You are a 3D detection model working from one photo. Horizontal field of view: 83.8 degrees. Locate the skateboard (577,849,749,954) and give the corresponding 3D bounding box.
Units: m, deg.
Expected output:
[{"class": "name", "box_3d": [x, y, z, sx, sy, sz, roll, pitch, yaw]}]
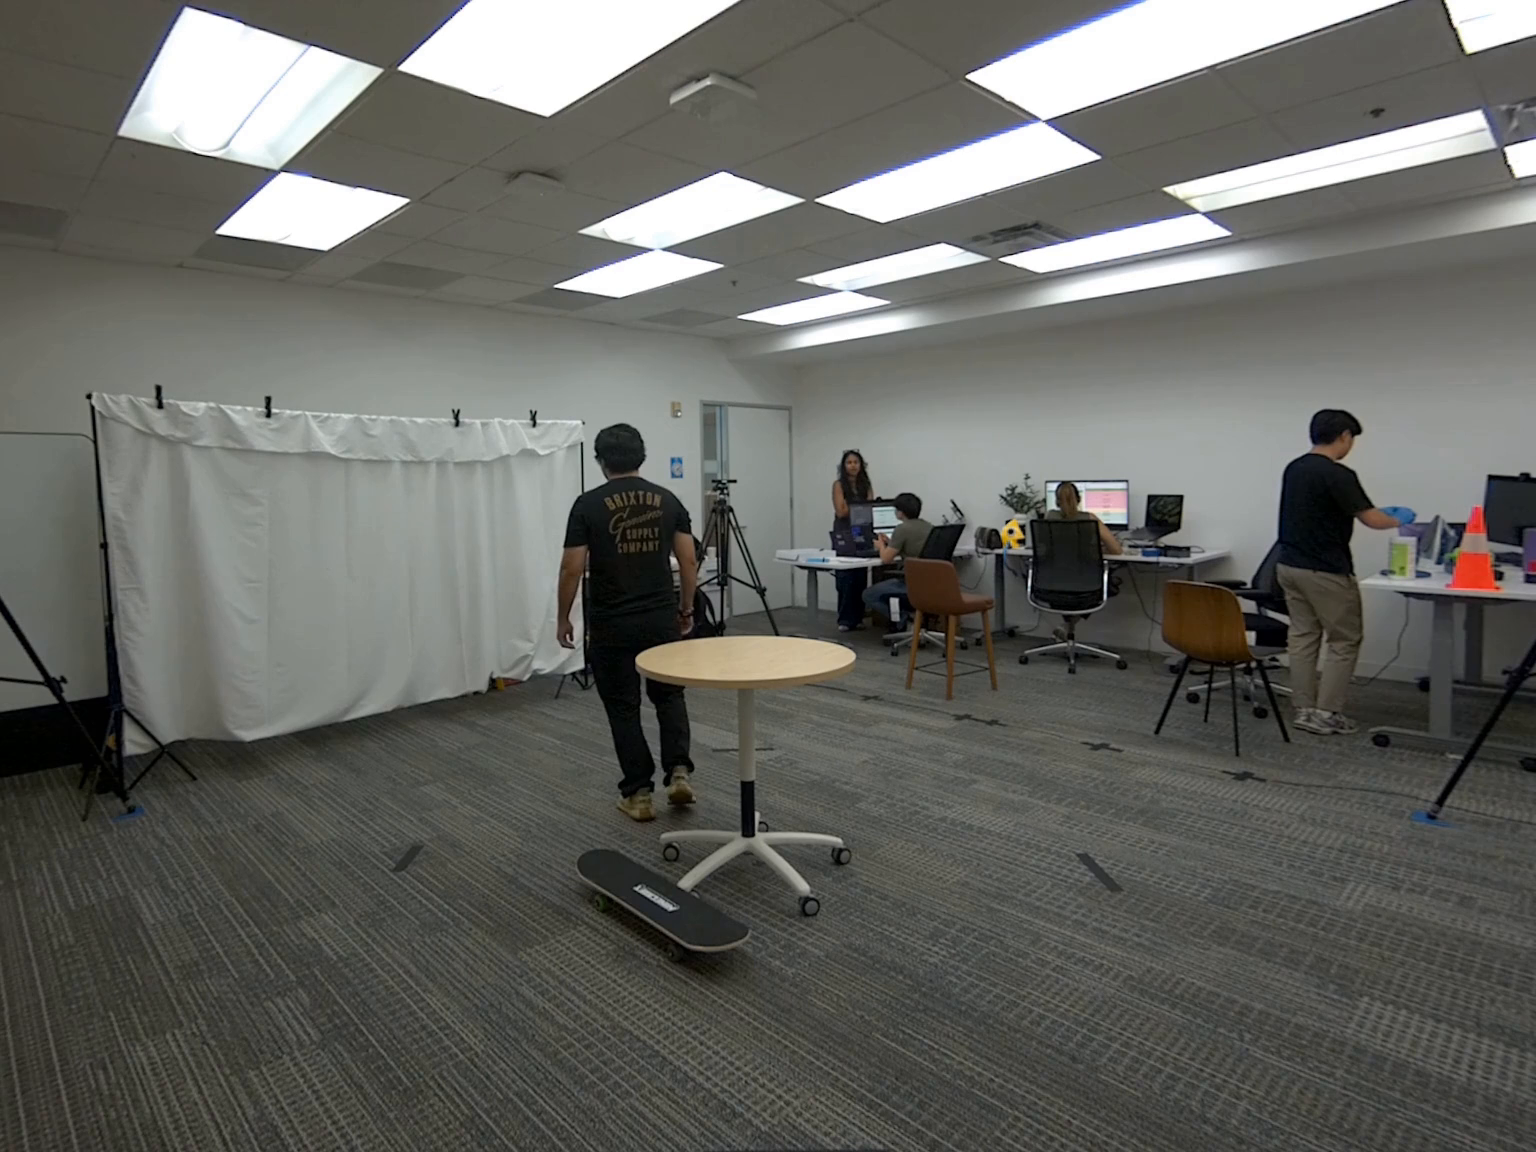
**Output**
[{"class": "skateboard", "box_3d": [-0.350, 1.052, 2.686, 0.188, 0.110, 0.810, -7, 8, -42]}]
